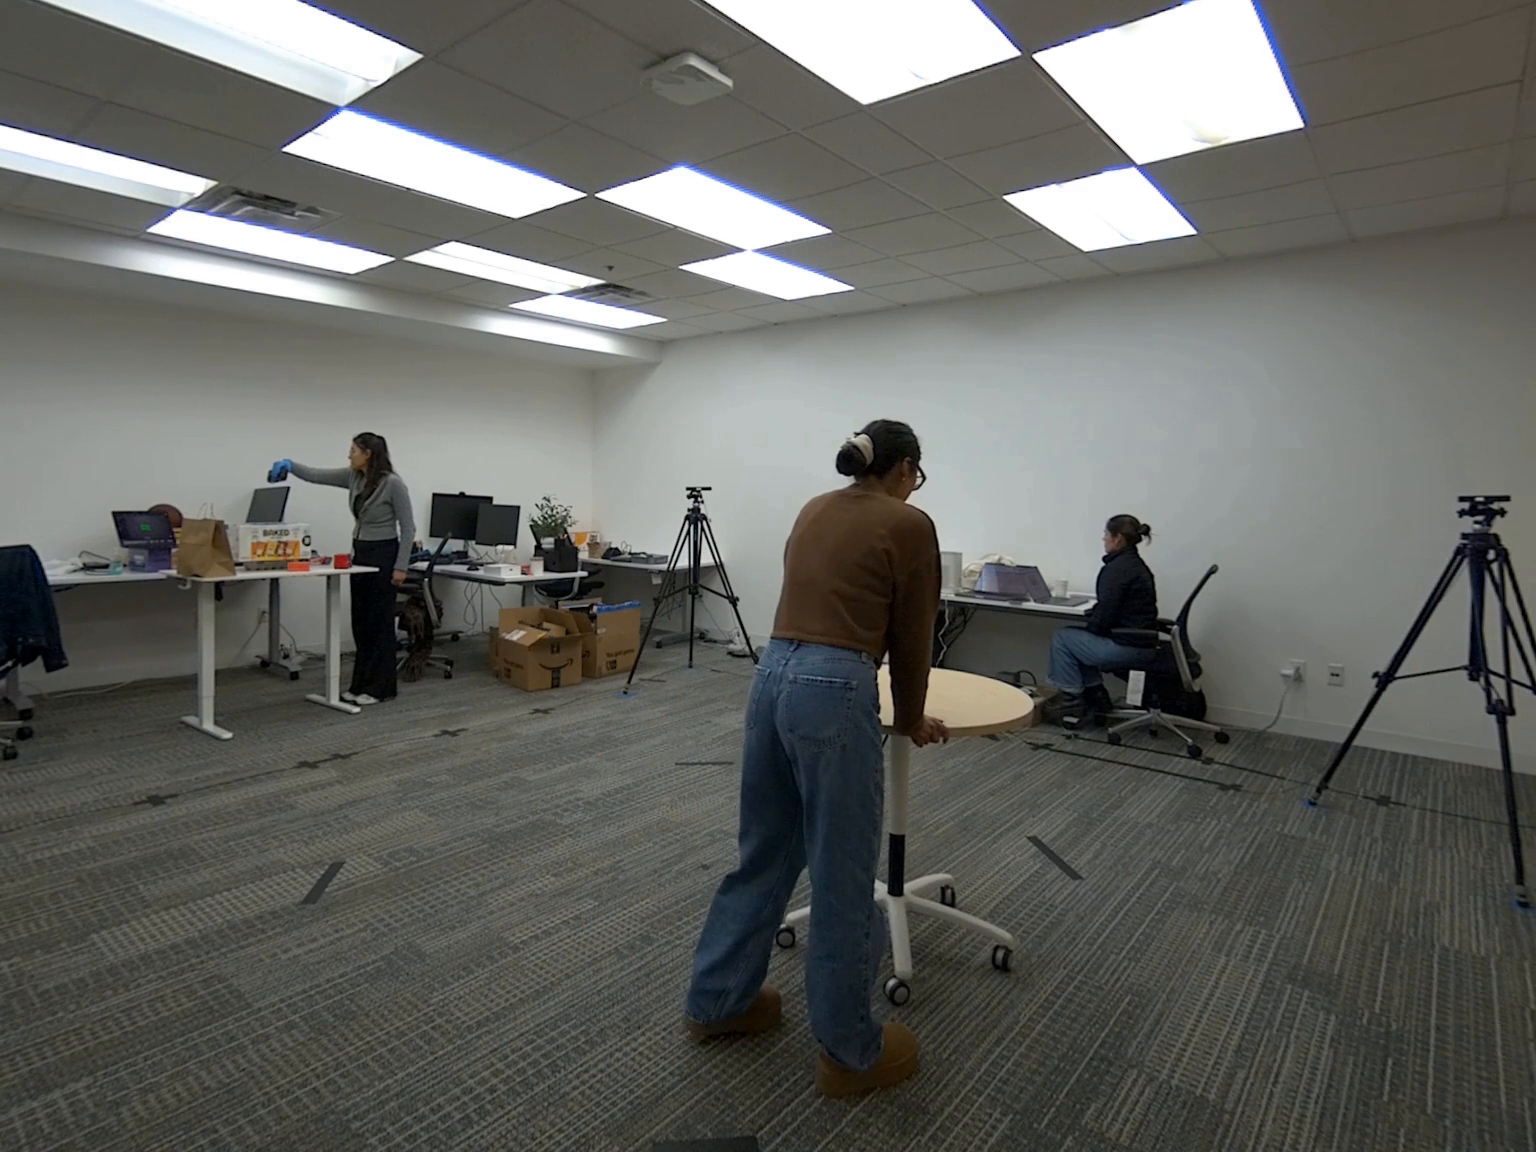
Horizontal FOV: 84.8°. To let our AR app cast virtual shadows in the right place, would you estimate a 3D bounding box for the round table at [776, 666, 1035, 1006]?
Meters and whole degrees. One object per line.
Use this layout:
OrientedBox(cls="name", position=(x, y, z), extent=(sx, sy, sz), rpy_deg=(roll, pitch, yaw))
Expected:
OrientedBox(cls="round table", position=(0.397, 0.742, 2.628), extent=(0.763, 0.791, 0.768), rpy_deg=(1, 5, -2))
